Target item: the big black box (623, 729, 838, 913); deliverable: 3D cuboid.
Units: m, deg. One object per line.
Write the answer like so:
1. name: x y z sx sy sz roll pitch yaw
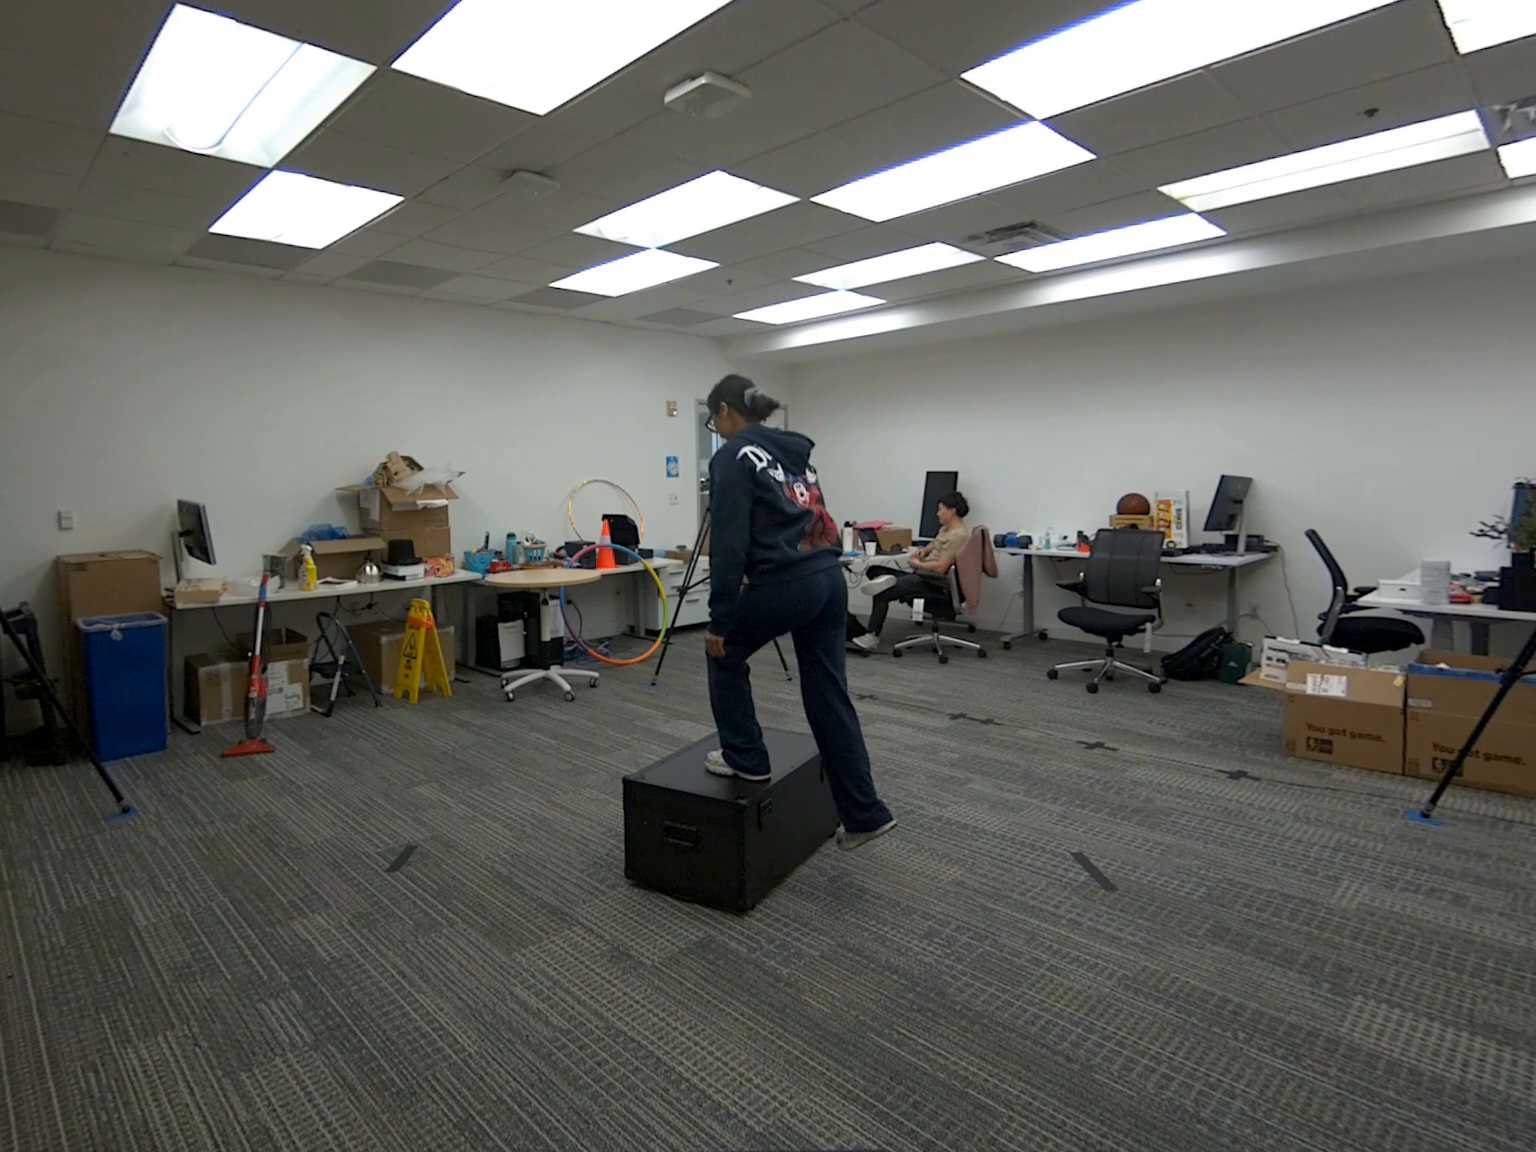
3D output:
1. big black box: -0.085 0.847 3.181 0.534 0.394 0.844 2 7 28
